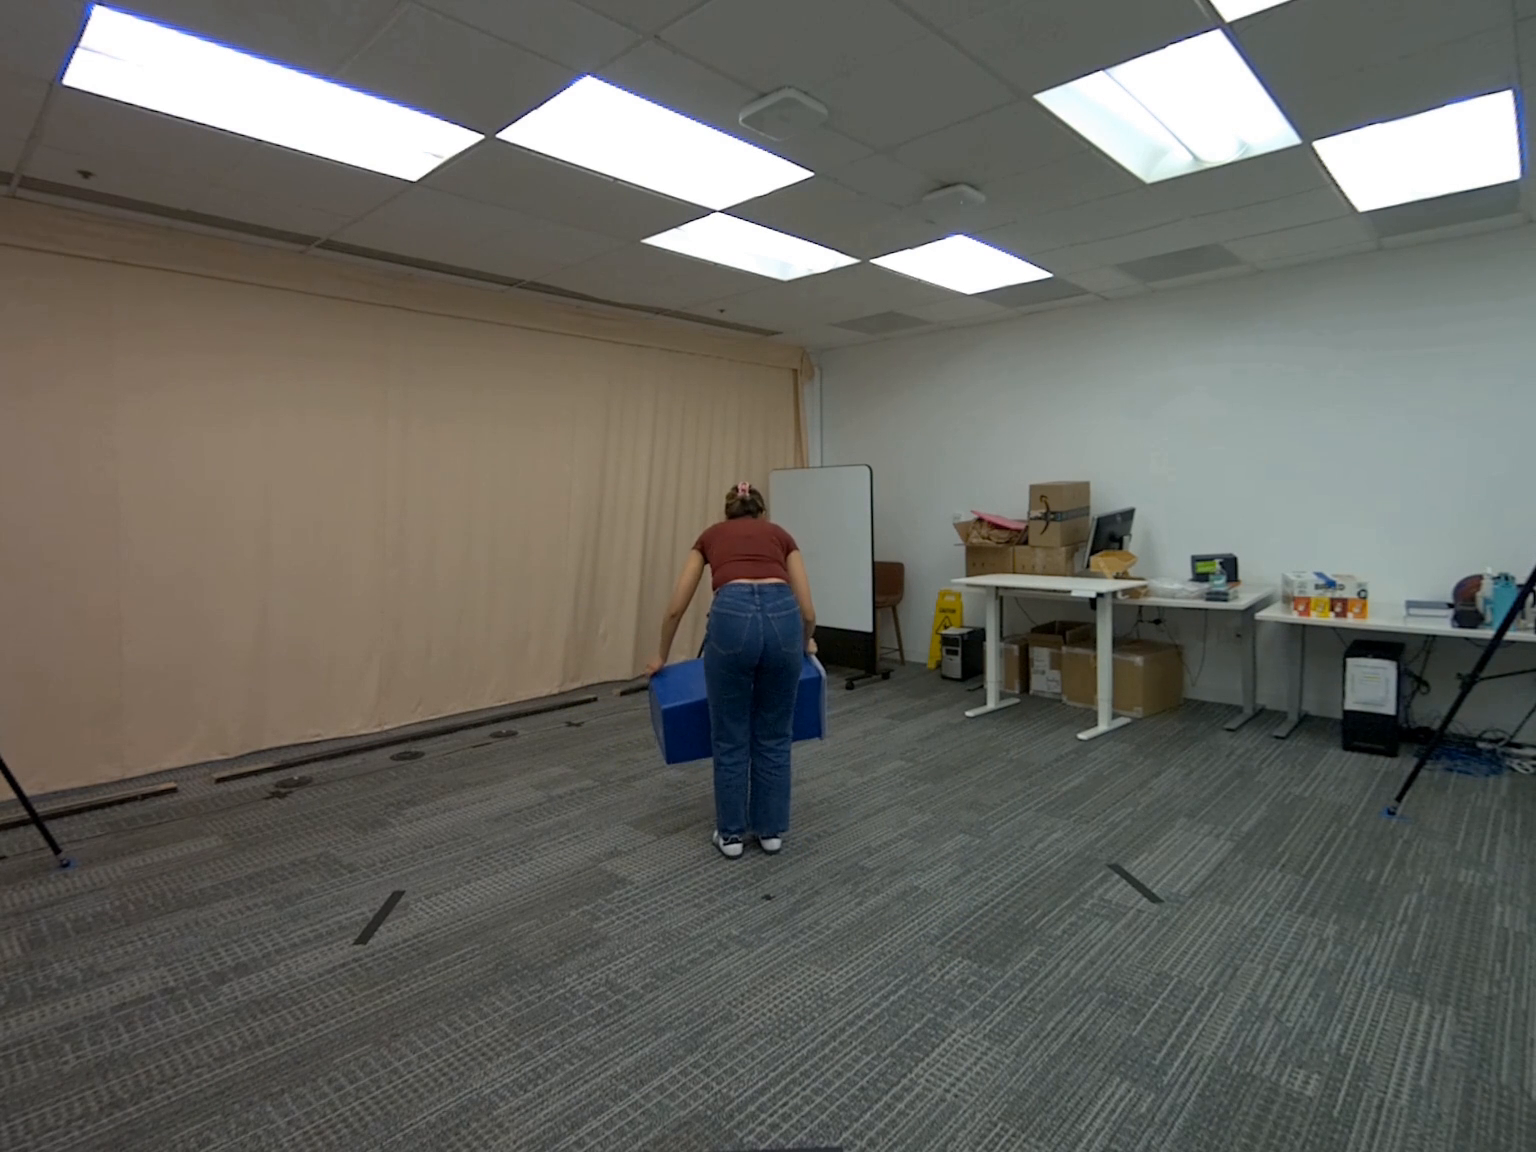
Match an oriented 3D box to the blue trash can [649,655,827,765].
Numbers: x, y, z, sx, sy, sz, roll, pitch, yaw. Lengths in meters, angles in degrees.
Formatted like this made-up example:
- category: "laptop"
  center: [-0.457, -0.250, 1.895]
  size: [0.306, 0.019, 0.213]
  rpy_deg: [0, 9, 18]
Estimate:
- category: "blue trash can"
  center: [-0.134, 0.551, 3.686]
  size: [0.705, 0.372, 0.385]
  rpy_deg: [-11, 27, -13]
